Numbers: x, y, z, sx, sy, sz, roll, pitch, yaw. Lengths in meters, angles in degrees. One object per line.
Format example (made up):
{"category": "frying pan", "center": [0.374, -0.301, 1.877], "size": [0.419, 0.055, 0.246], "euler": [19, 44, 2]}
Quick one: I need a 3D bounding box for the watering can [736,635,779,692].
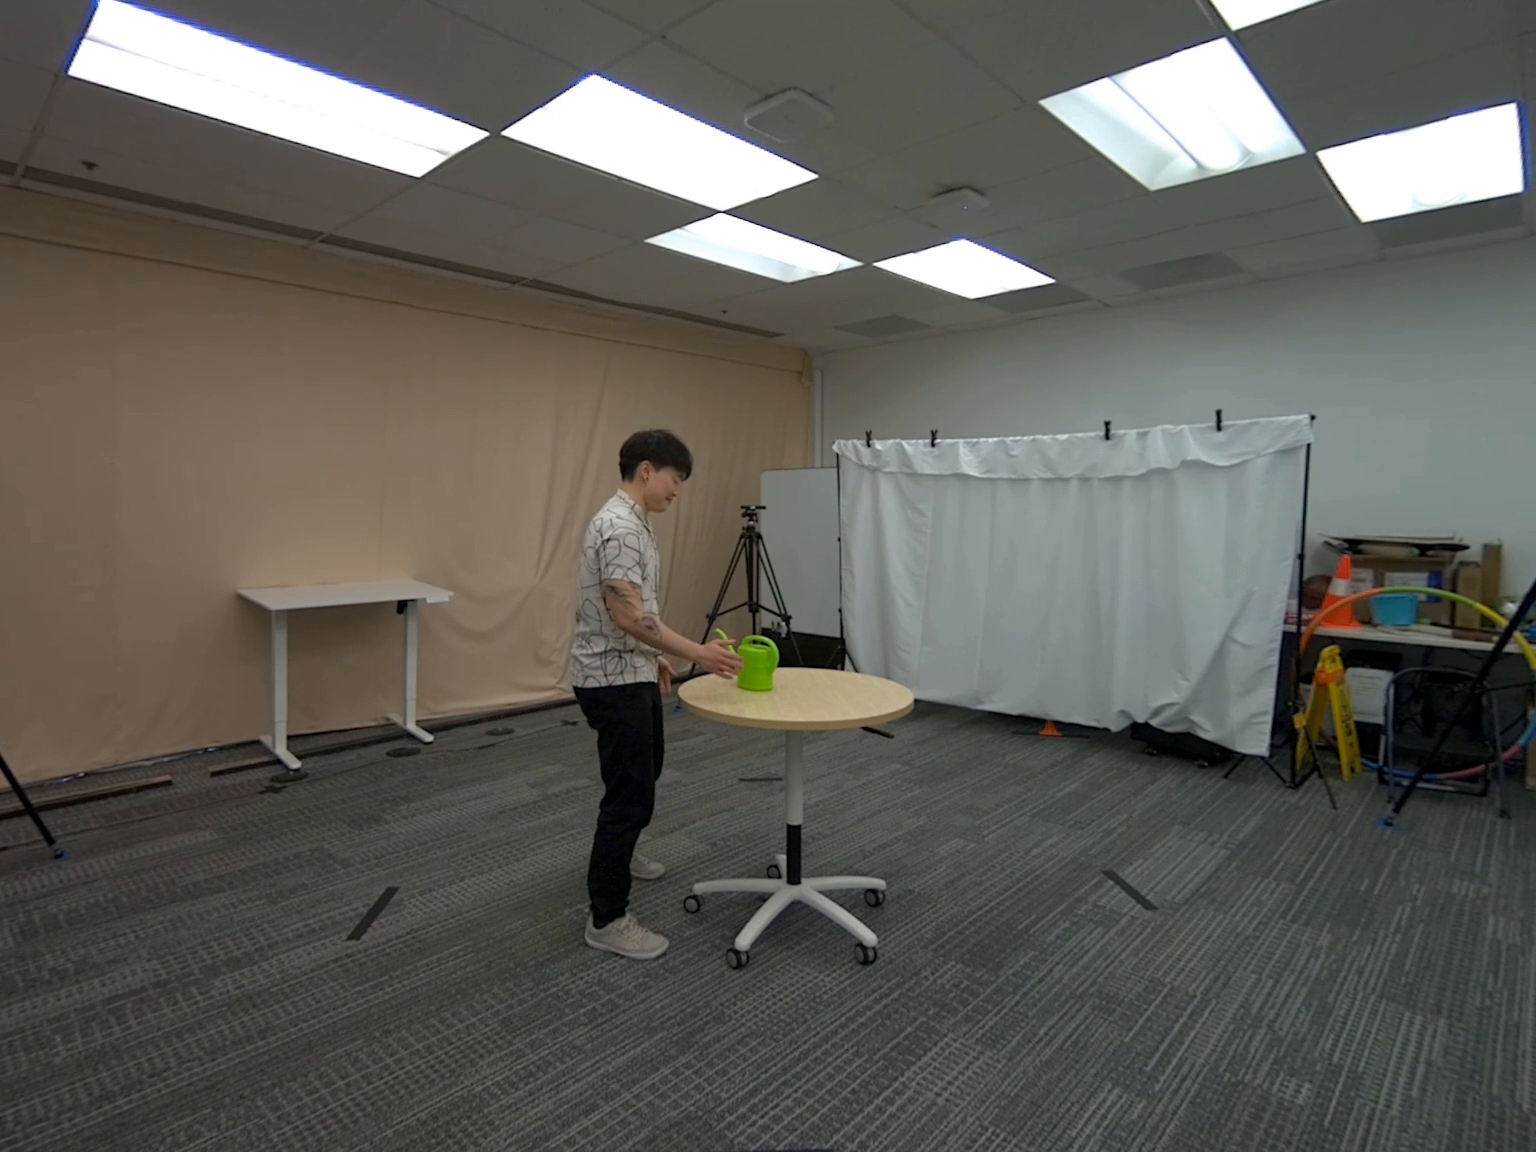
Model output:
{"category": "watering can", "center": [-0.066, 0.284, 2.823], "size": [0.095, 0.176, 0.287], "euler": [-2, 7, -37]}
